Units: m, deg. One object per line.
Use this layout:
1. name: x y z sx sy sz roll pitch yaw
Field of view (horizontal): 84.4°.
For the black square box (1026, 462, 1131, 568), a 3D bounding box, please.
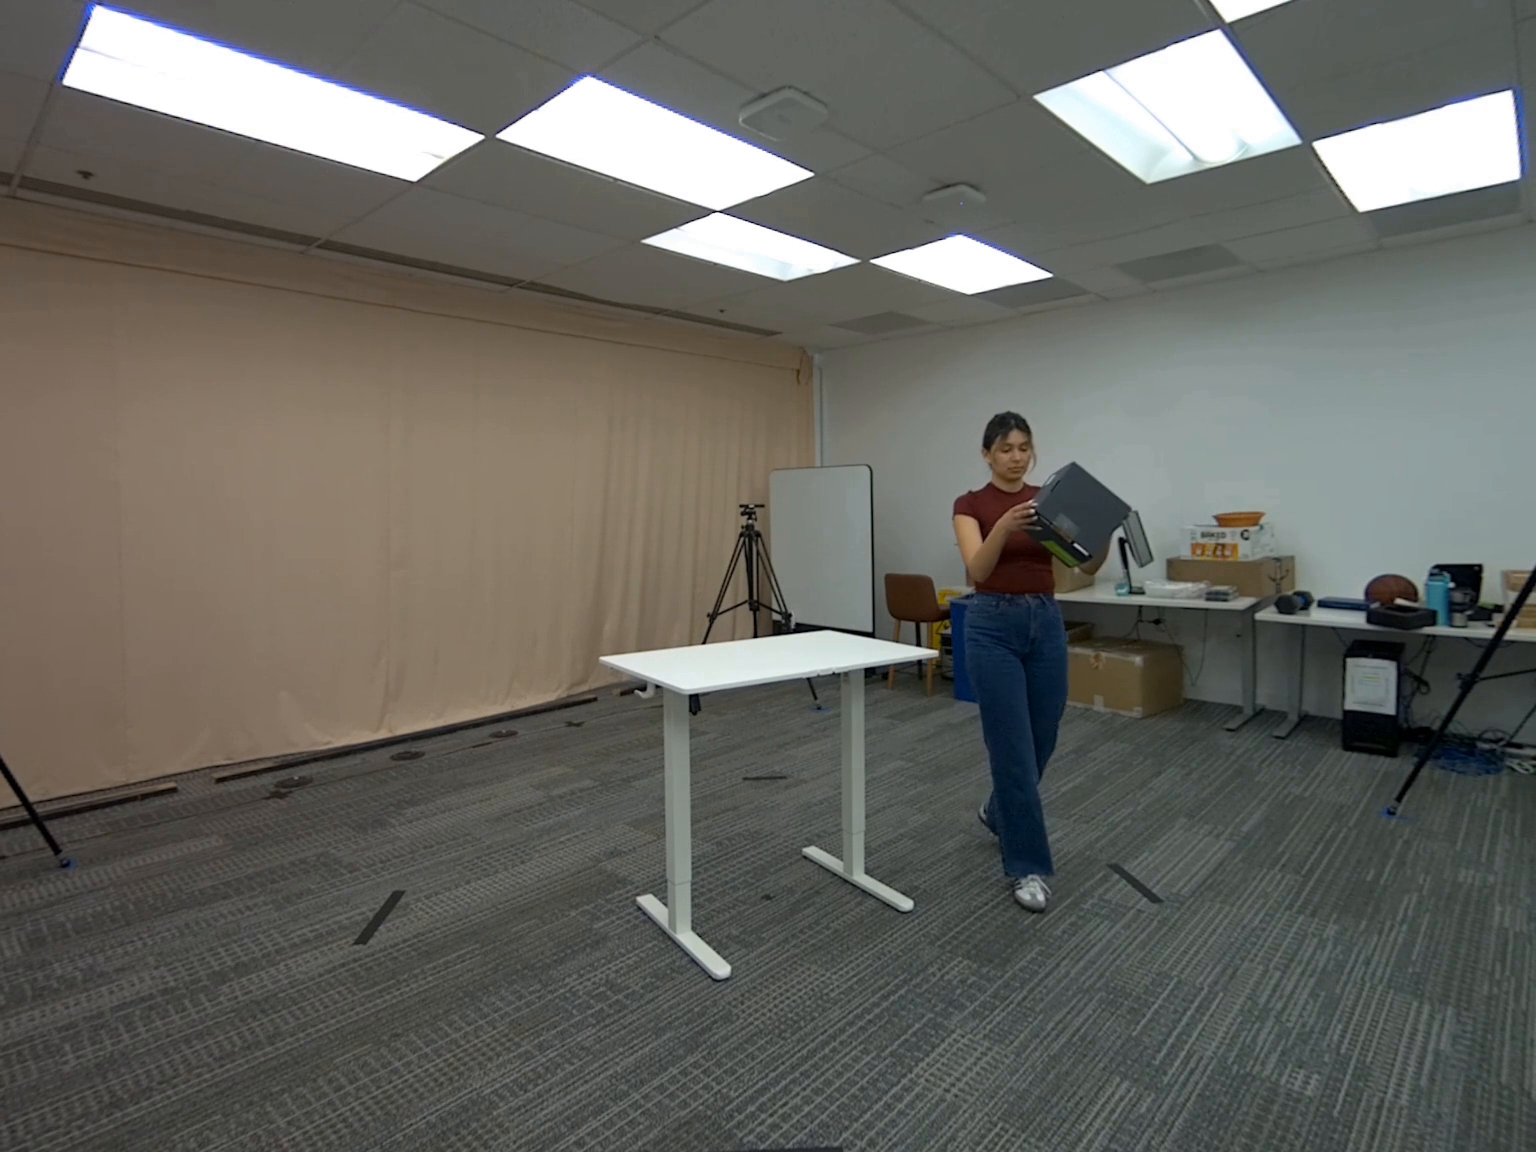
1. black square box: 0.944 -0.188 2.633 0.229 0.216 0.156 41 -14 3
